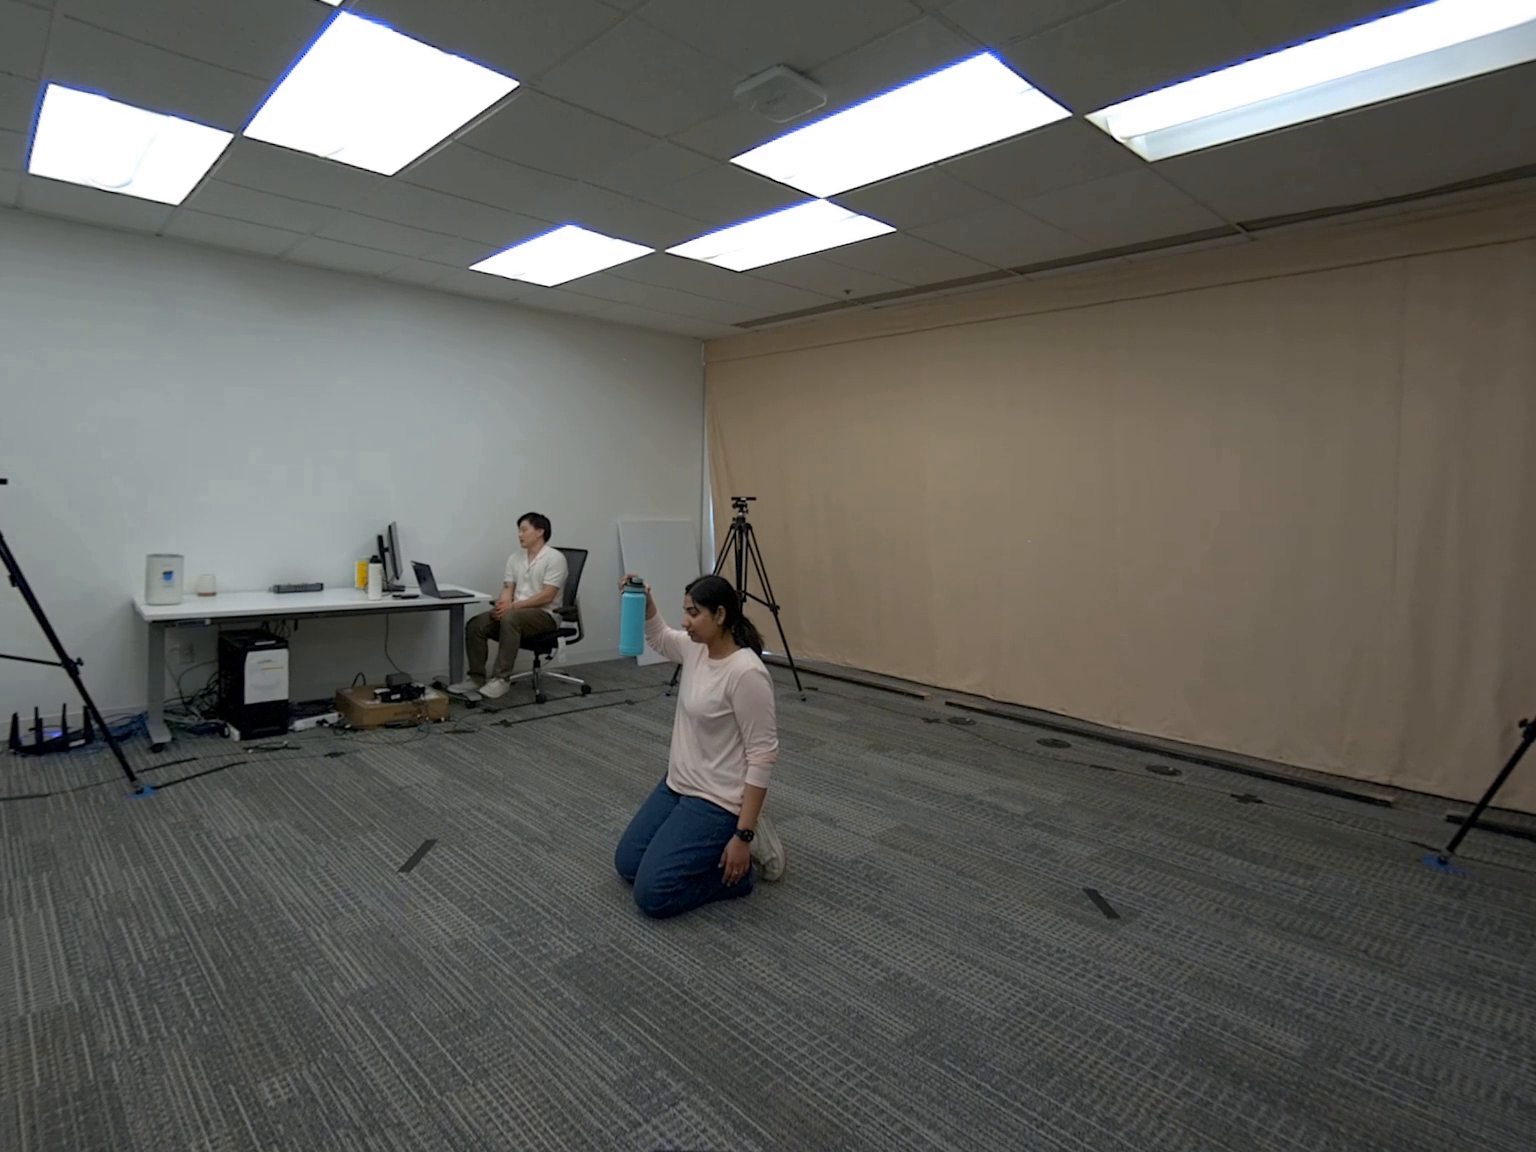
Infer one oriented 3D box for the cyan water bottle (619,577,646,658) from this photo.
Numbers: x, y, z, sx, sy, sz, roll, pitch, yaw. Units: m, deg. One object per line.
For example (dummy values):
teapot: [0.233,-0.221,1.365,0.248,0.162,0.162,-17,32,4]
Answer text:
cyan water bottle: [-0.506,0.145,3.108,0.092,0.283,0.092,2,2,-1]
